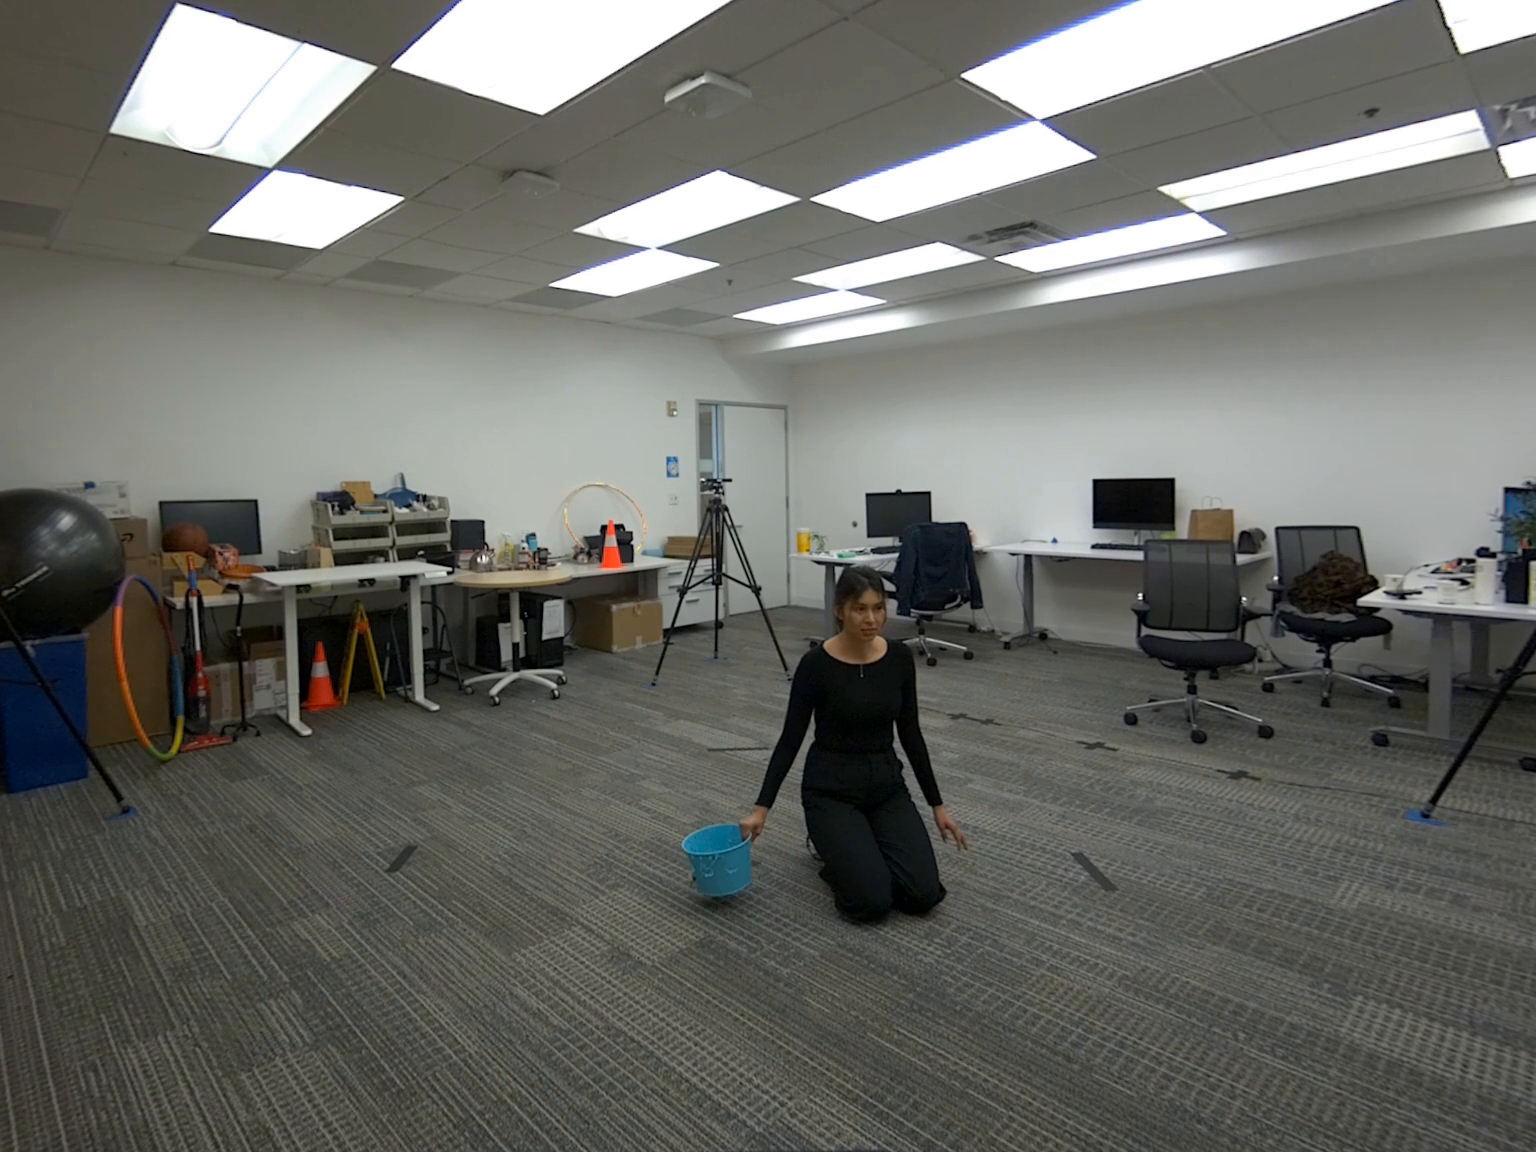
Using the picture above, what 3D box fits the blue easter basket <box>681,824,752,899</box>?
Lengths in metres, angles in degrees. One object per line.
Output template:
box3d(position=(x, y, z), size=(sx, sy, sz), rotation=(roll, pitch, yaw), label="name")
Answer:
box3d(position=(-0.157, 0.941, 2.831), size=(0.243, 0.155, 0.245), rotation=(-10, 6, -1), label="blue easter basket")
